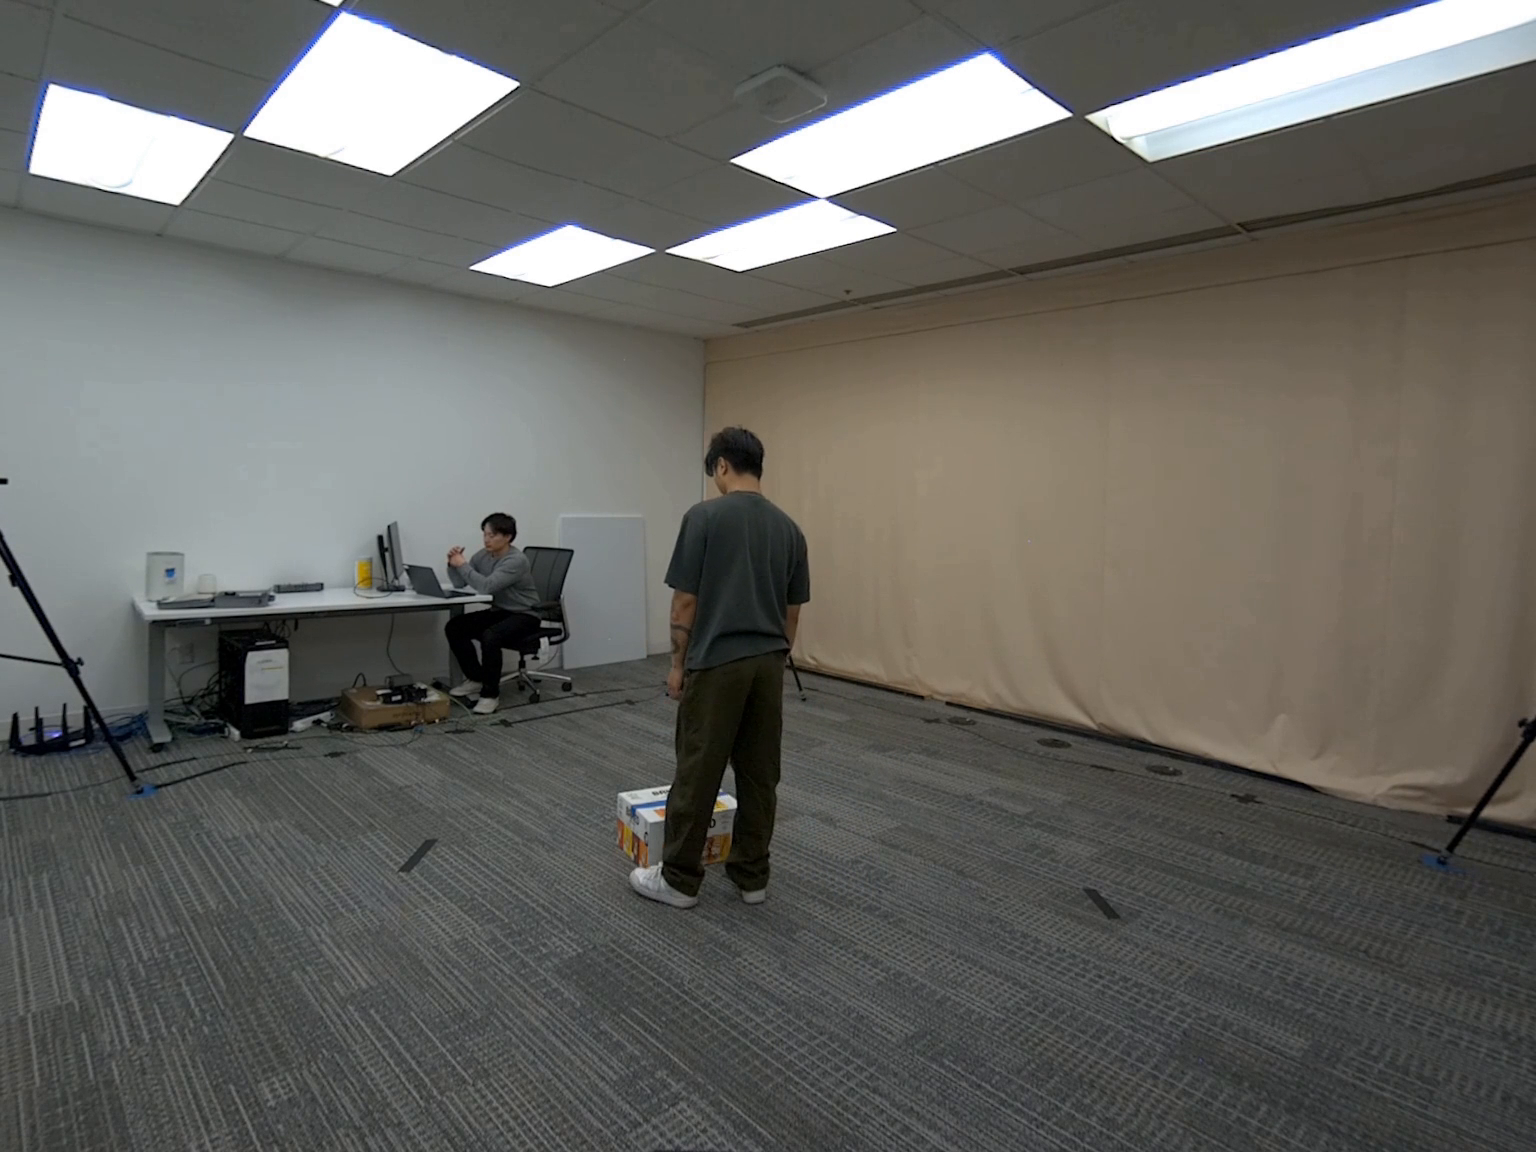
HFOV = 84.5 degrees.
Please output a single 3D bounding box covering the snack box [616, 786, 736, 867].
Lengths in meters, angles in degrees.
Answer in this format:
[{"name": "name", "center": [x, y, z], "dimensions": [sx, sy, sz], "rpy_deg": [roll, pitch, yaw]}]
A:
[{"name": "snack box", "center": [-0.349, 0.976, 3.311], "dimensions": [0.397, 0.205, 0.348], "rpy_deg": [-1, 6, -29]}]
